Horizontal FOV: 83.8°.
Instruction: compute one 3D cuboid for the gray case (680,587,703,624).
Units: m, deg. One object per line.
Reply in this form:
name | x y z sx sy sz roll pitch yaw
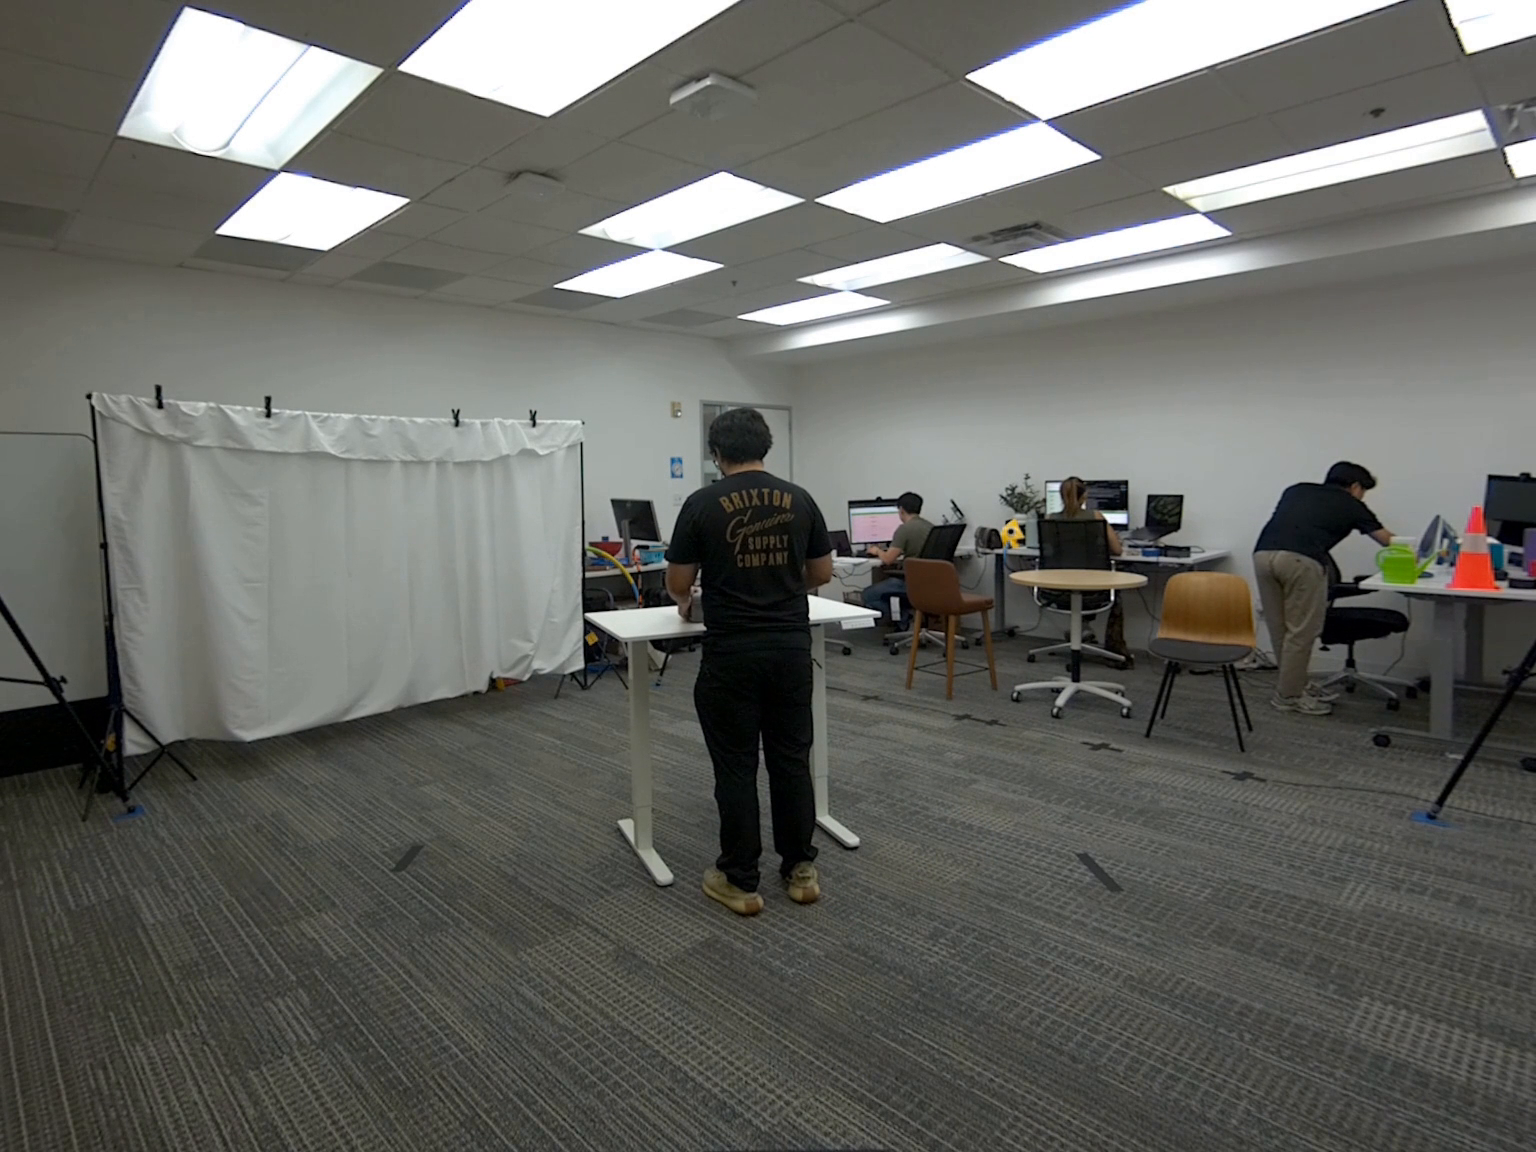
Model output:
gray case | -0.197 0.105 3.221 0.257 0.104 0.262 -3 7 -15
